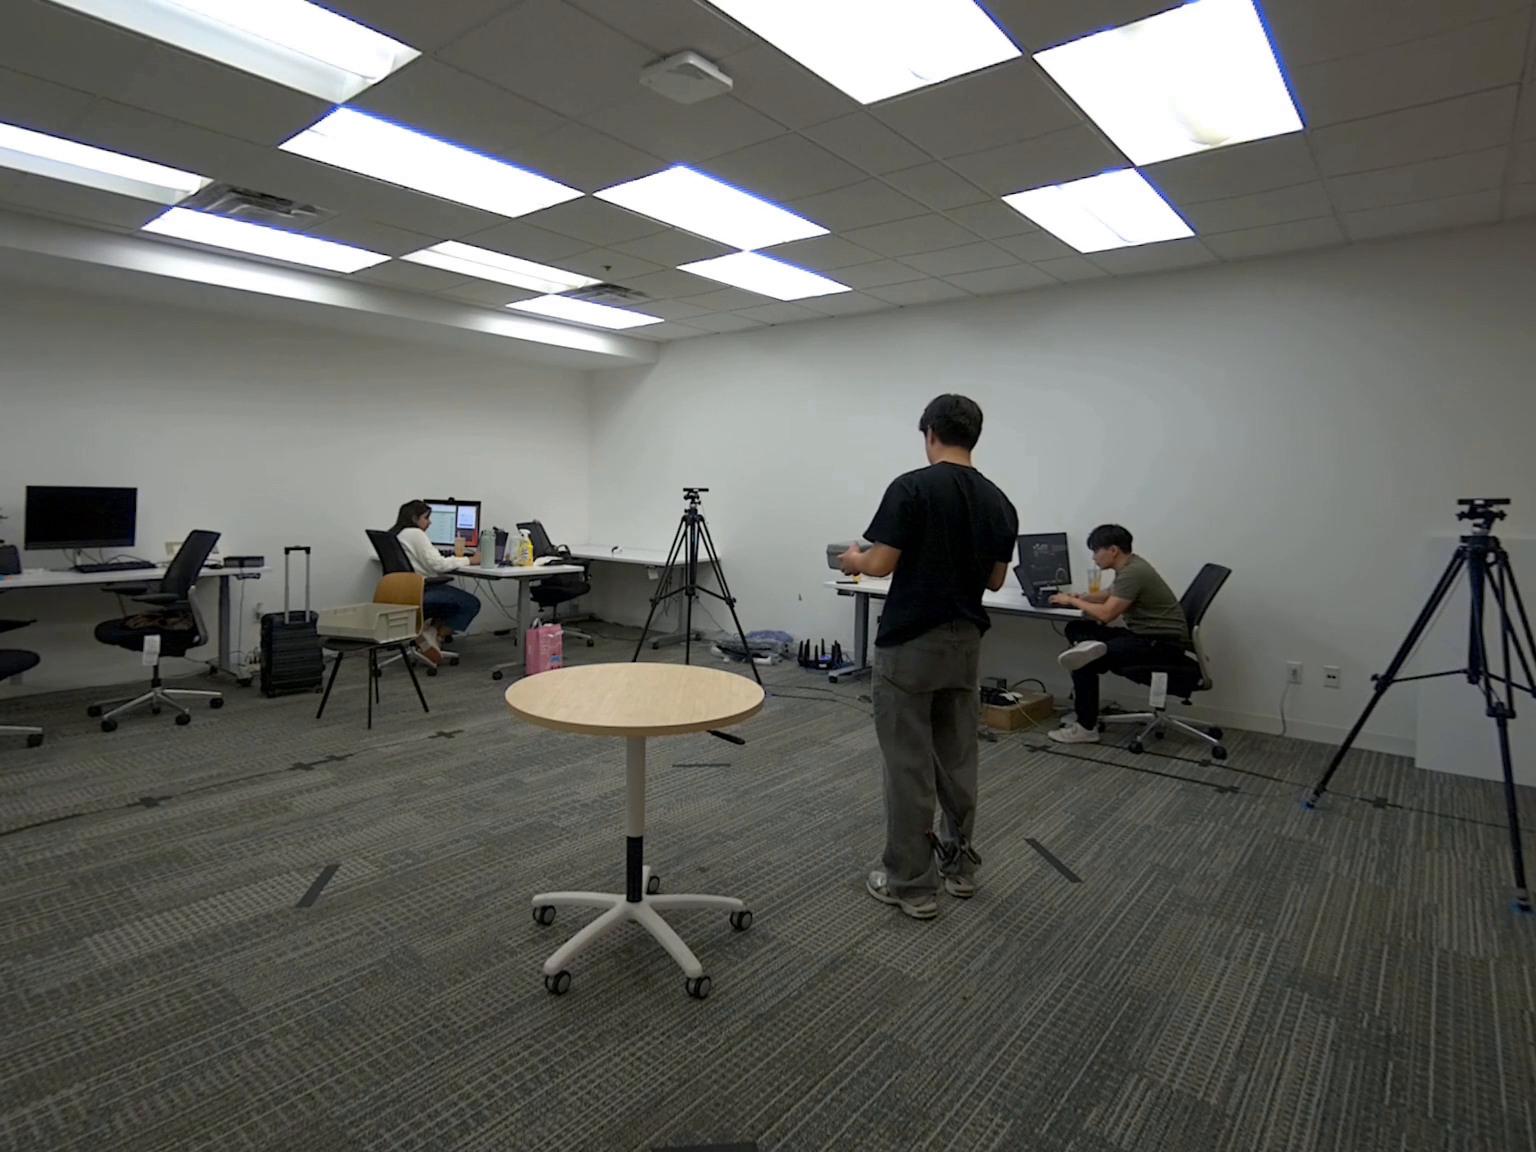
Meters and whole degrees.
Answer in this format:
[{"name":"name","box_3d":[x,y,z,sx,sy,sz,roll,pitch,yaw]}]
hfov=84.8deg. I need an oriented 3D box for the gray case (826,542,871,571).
[{"name":"gray case","box_3d":[0.376,-0.083,3.212,0.260,0.102,0.292,-5,7,-14]}]
